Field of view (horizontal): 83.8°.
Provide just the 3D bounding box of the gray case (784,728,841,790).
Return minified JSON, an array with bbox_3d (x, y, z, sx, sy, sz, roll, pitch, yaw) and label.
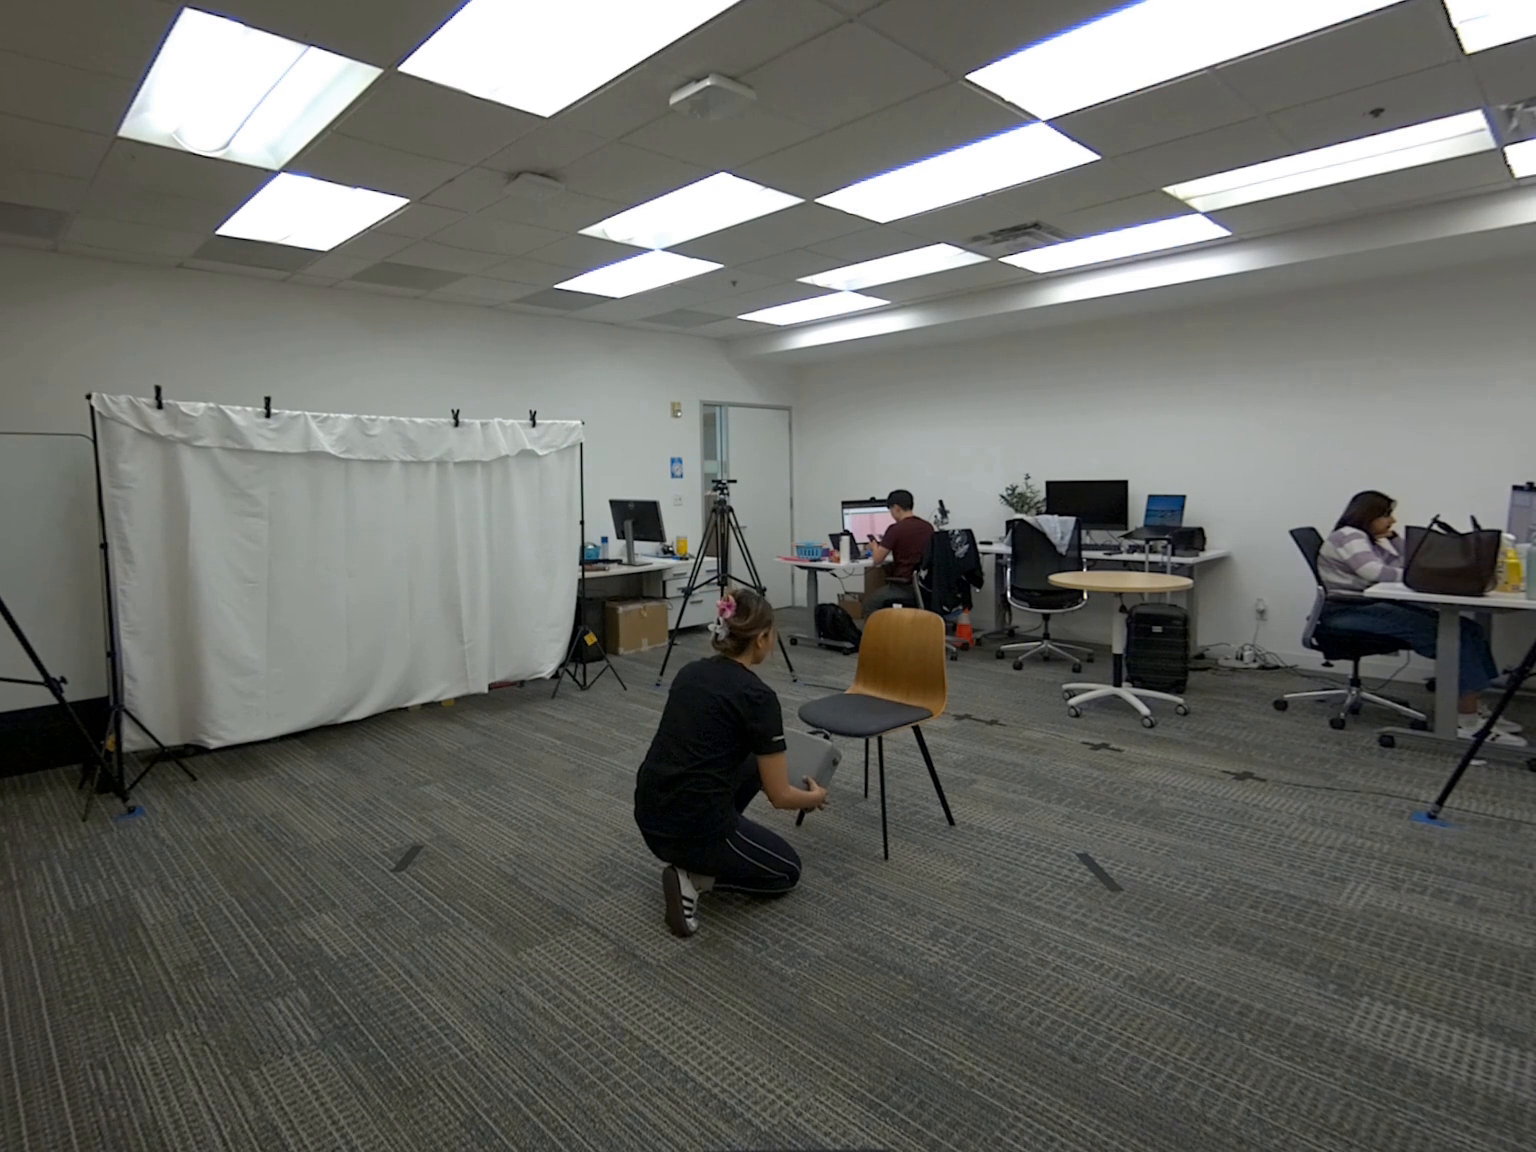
[{"bbox_3d":[0.111,0.691,3.095,0.265,0.261,0.100,9,-32,49],"label":"gray case"}]
